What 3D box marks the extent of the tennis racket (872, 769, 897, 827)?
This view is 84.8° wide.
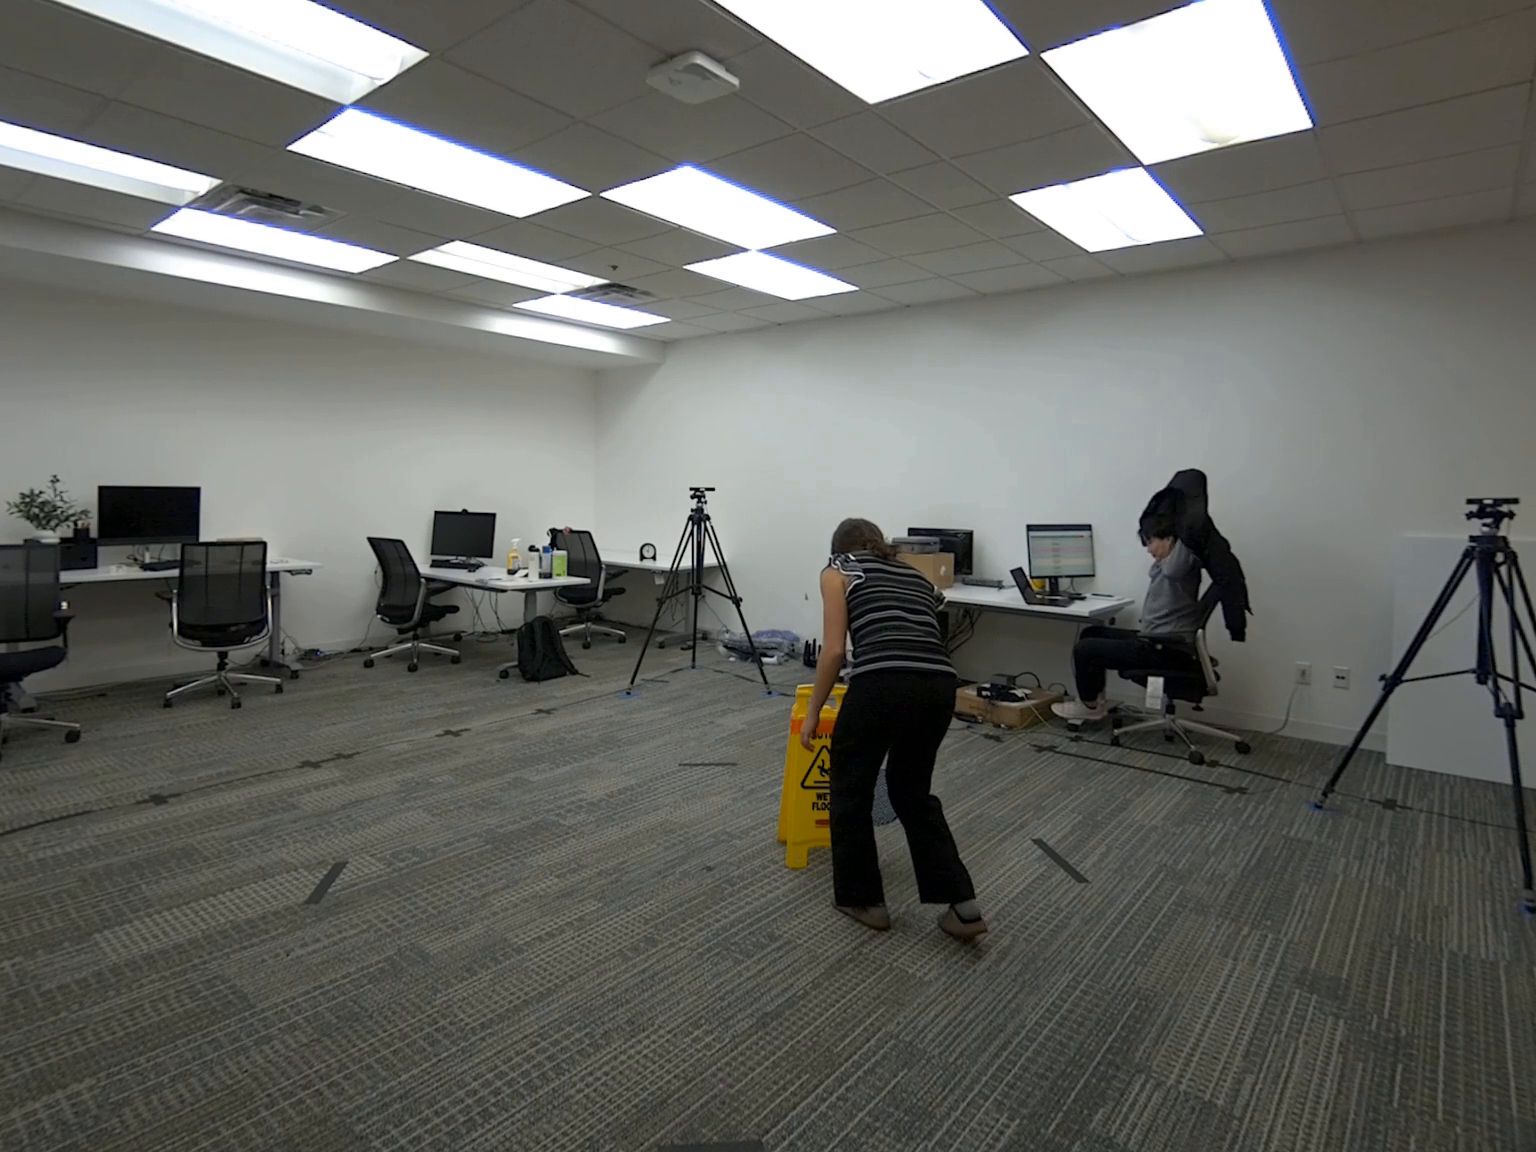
[{"bbox_3d":[0.436,0.767,3.180,0.216,0.430,0.031,33,22,9],"label":"tennis racket"}]
